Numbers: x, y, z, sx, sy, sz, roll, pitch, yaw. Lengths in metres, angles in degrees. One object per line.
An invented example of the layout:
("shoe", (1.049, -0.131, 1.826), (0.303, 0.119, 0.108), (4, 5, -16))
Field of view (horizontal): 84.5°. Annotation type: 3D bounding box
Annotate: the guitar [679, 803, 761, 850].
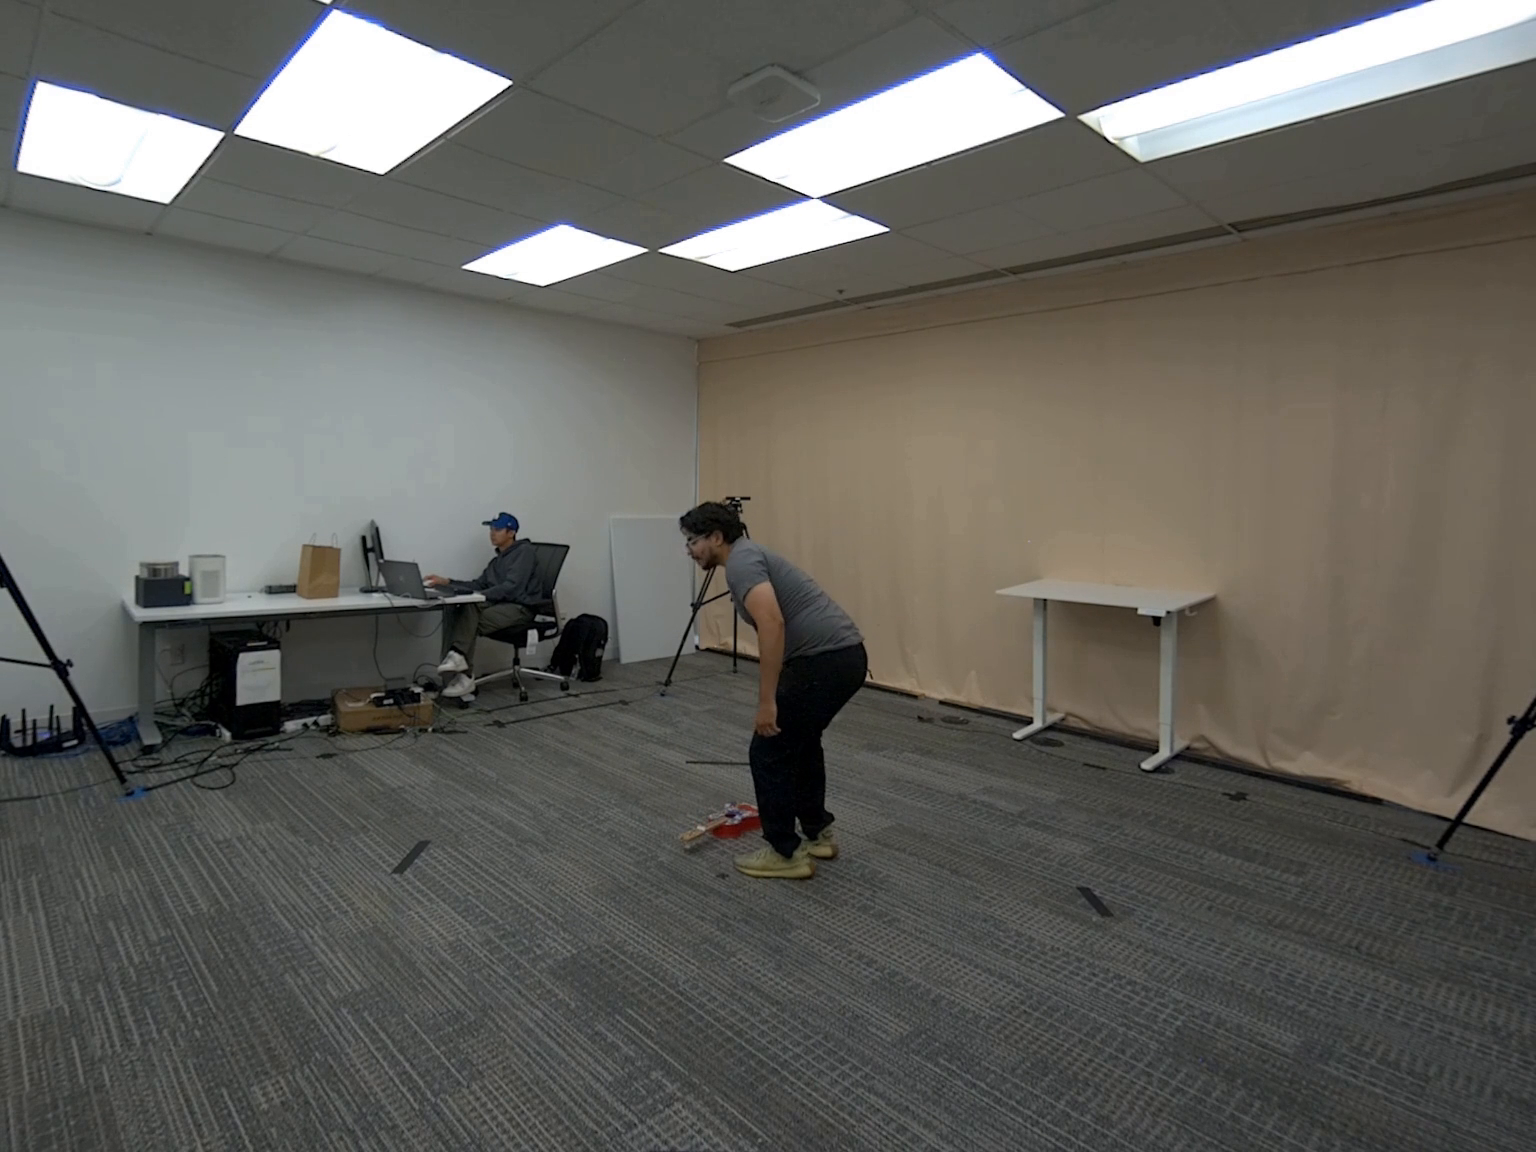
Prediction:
("guitar", (-0.227, 1.035, 3.499), (0.198, 0.070, 0.486), (6, 6, 42))
